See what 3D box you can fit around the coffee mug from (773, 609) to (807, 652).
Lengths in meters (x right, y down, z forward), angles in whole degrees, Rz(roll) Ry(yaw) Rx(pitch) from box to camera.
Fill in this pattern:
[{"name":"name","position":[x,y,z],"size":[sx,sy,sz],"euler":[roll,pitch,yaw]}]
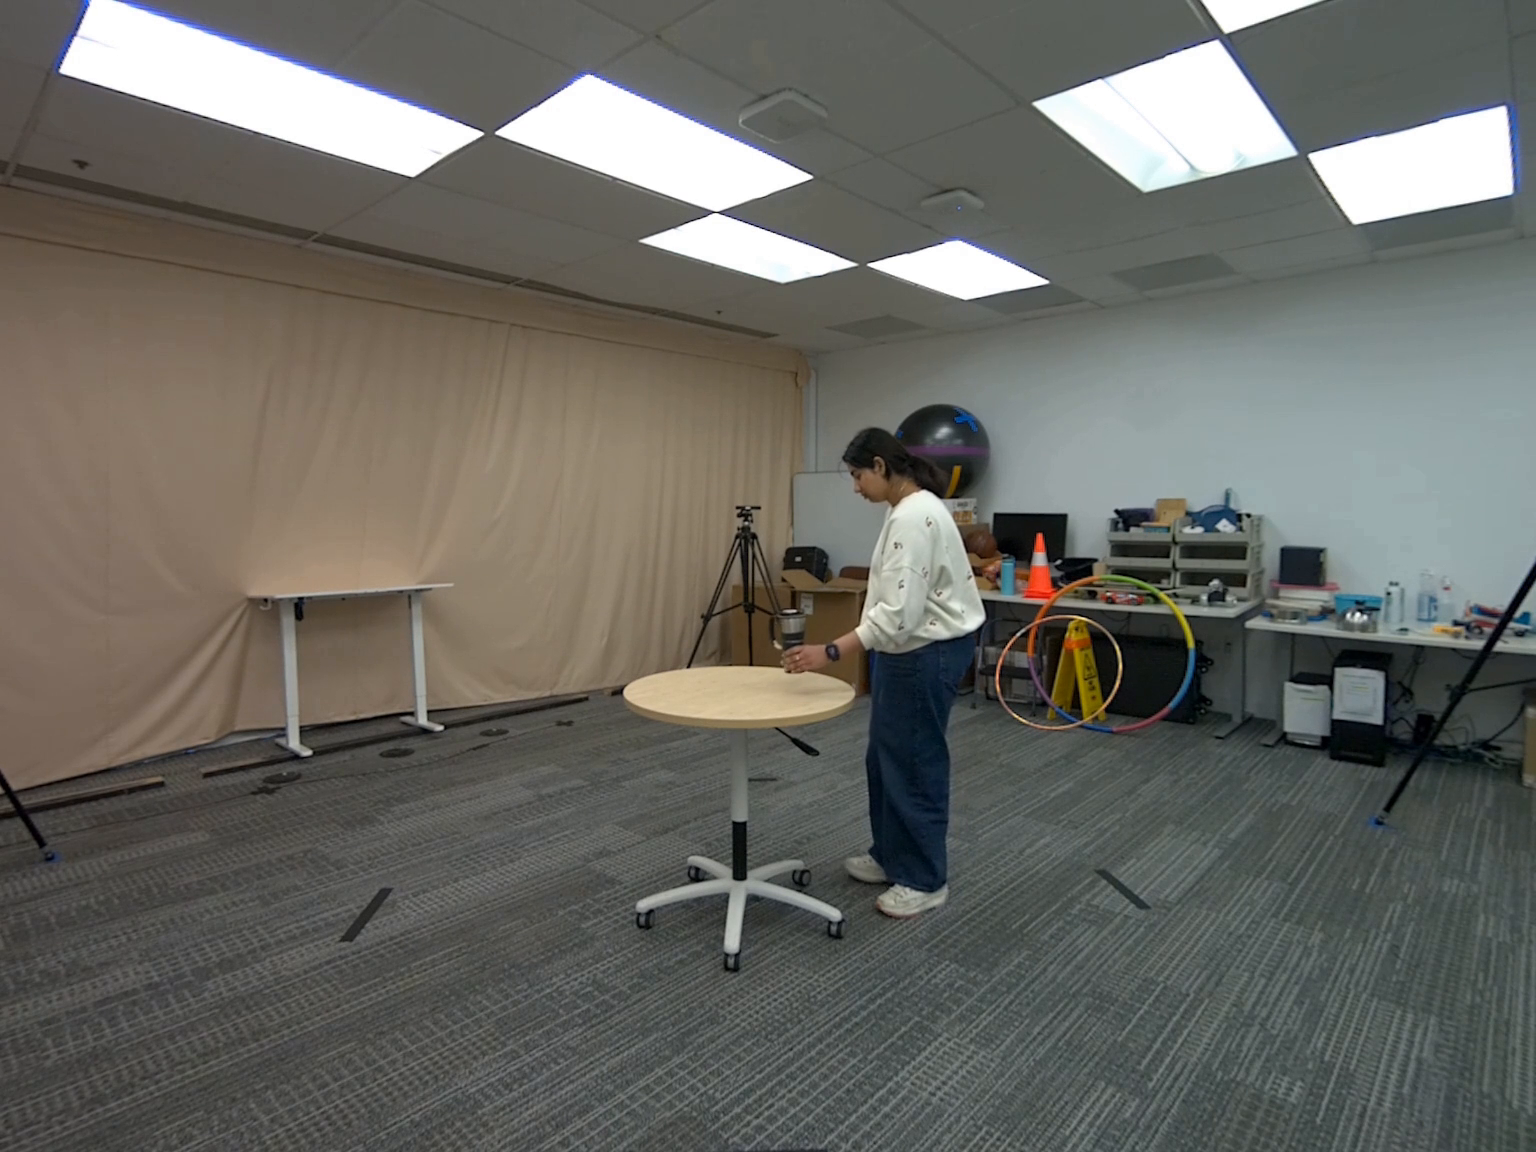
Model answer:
[{"name":"coffee mug","position":[0.074,0.214,2.750],"size":[0.126,0.202,0.085],"euler":[4,9,40]}]
